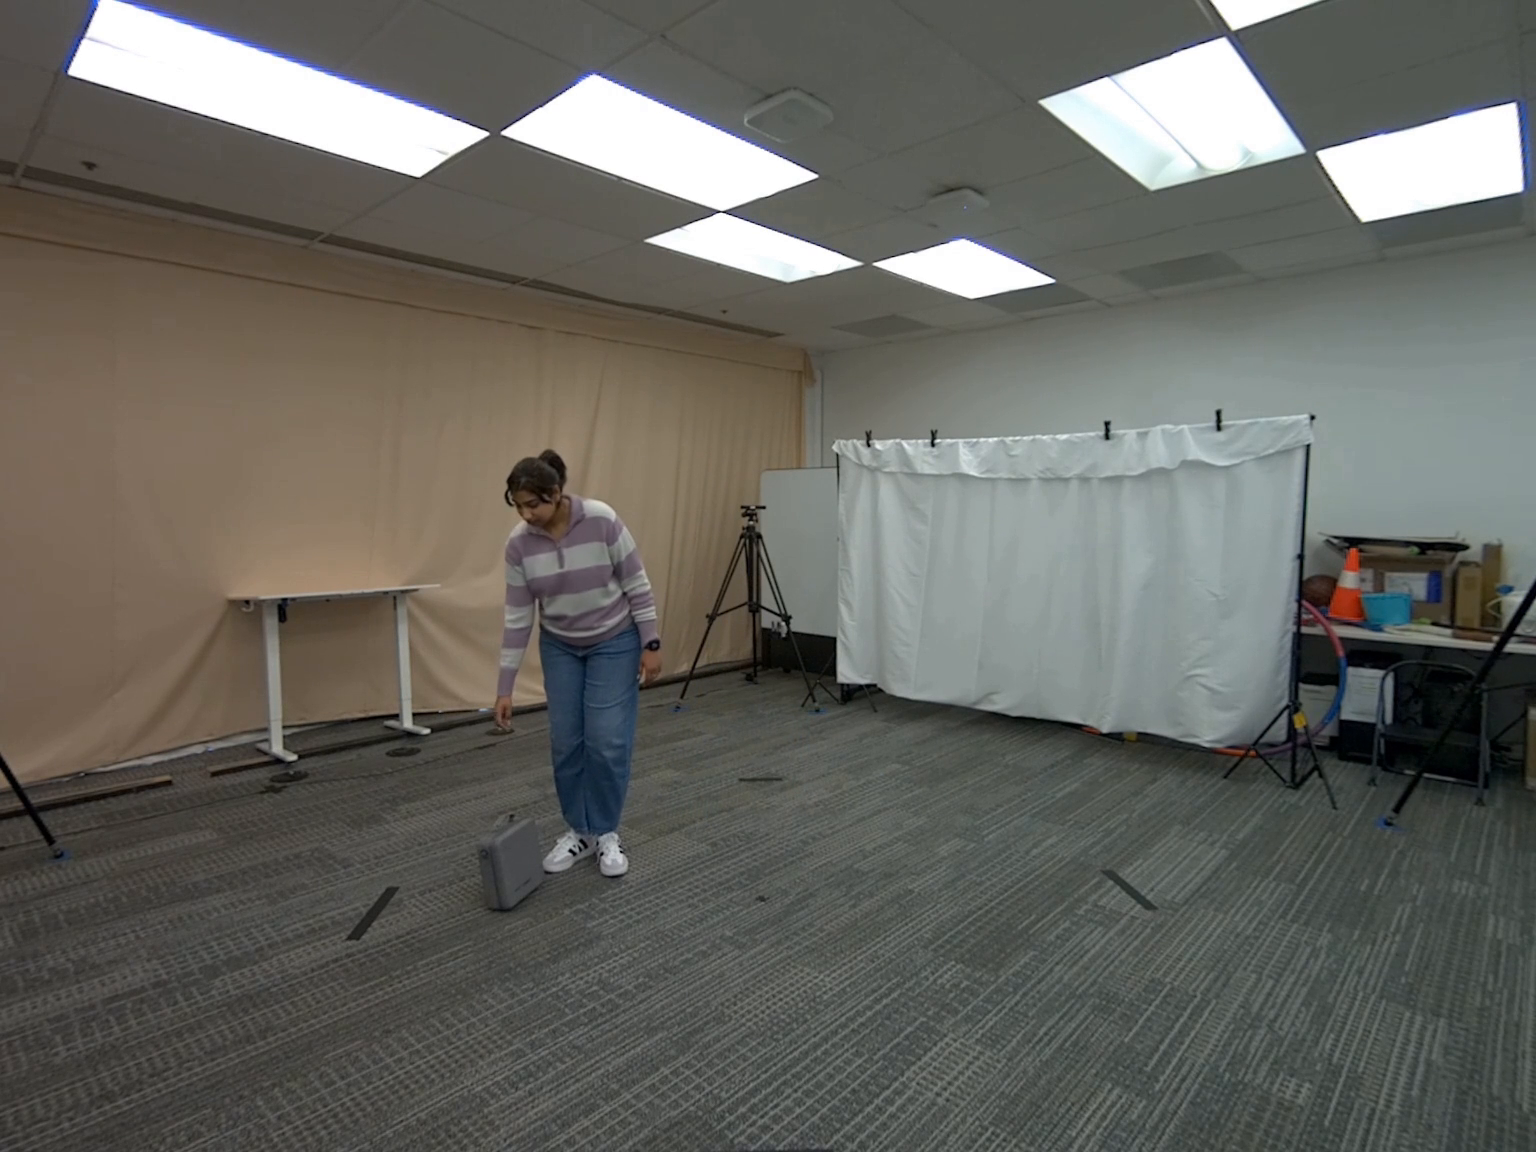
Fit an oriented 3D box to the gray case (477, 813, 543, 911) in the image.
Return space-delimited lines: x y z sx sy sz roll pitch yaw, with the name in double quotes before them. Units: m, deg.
"gray case" -0.915 1.010 3.007 0.106 0.261 0.252 -6 0 17
